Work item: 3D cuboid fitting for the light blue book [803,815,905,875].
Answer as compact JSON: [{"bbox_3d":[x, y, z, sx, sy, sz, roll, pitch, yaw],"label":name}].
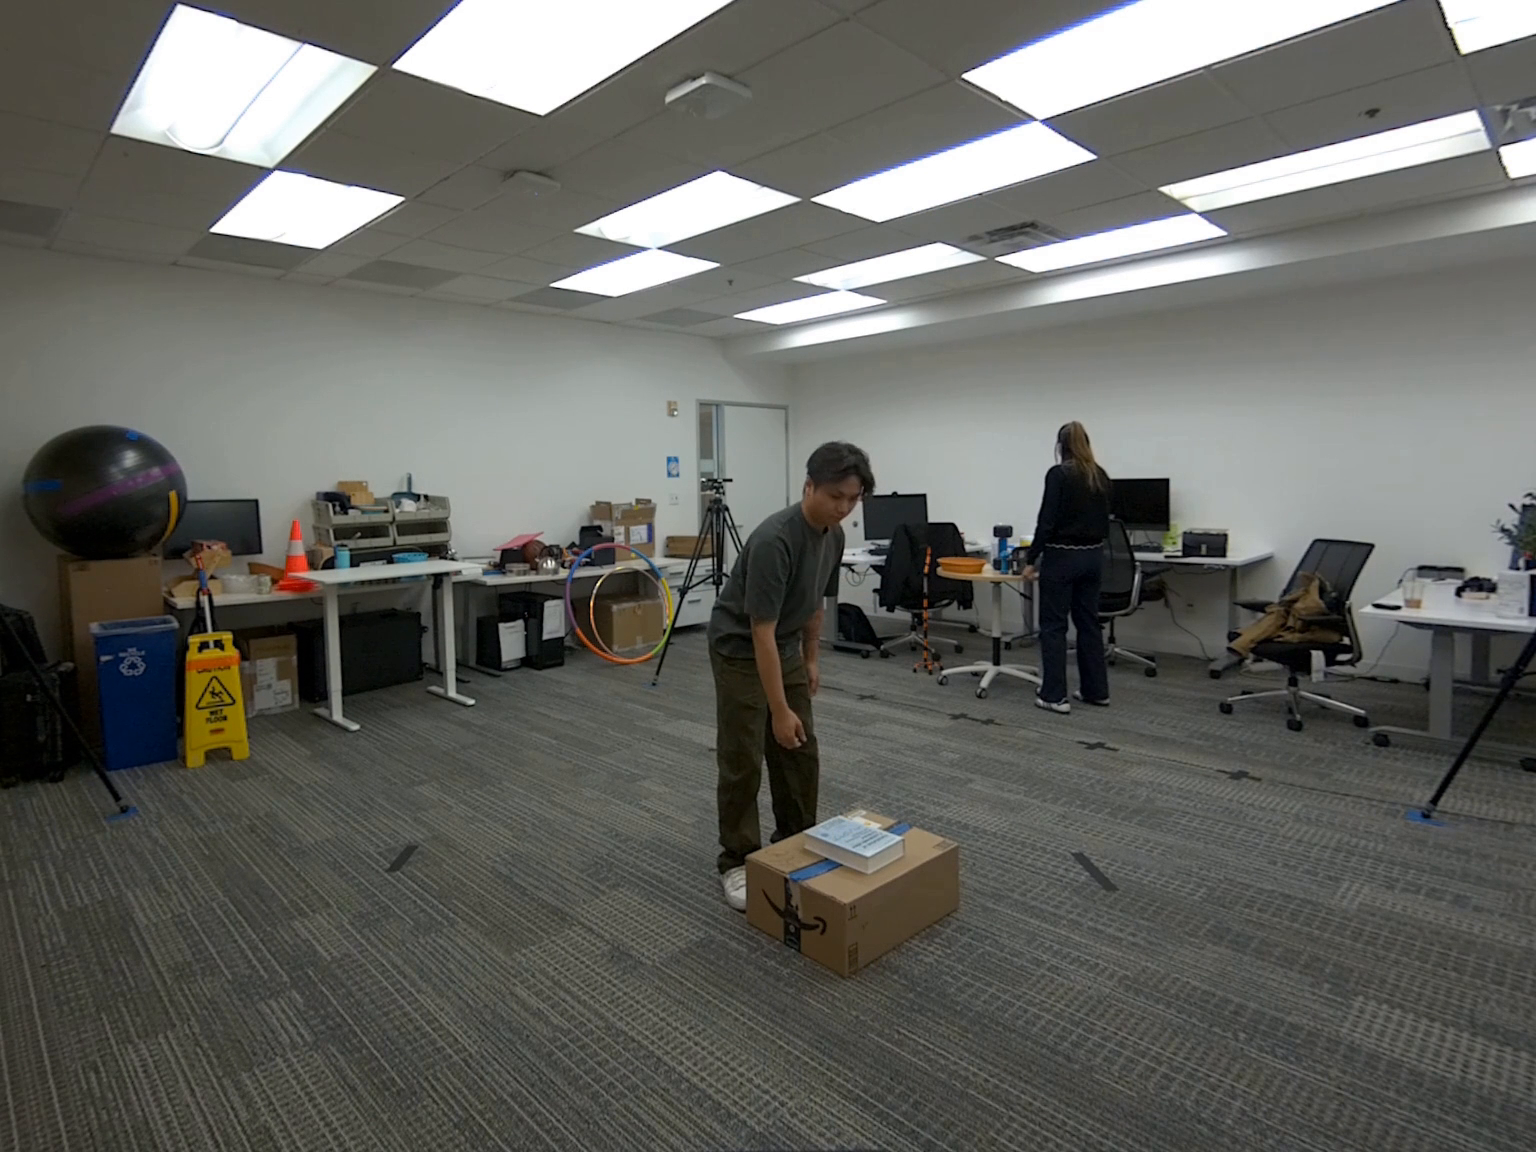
[{"bbox_3d":[0.276,0.845,2.705,0.186,0.059,0.269,-8,9,-44],"label":"light blue book"}]
